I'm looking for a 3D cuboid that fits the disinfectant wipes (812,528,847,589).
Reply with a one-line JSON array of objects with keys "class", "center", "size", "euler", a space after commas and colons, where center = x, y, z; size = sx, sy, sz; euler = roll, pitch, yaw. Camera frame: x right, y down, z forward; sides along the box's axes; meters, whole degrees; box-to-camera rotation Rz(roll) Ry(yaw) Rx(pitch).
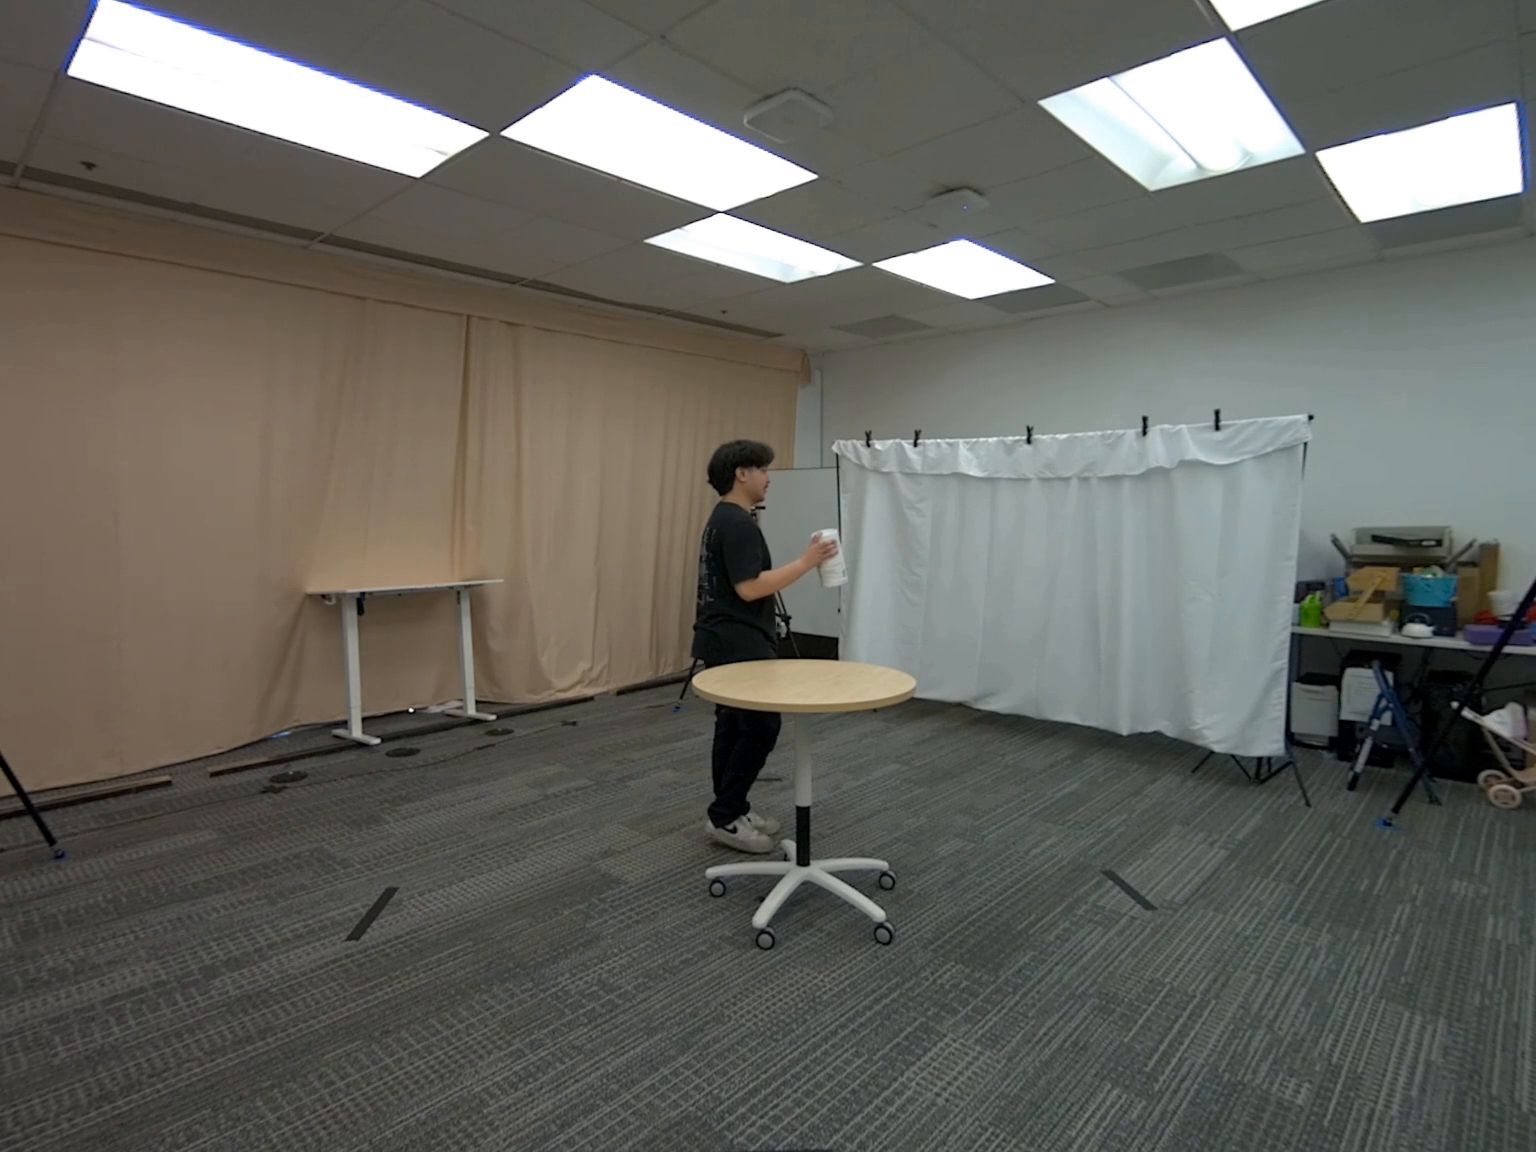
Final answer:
[{"class": "disinfectant wipes", "center": [0.249, -0.067, 3.321], "size": [0.118, 0.215, 0.119], "euler": [-11, 13, 1]}]
